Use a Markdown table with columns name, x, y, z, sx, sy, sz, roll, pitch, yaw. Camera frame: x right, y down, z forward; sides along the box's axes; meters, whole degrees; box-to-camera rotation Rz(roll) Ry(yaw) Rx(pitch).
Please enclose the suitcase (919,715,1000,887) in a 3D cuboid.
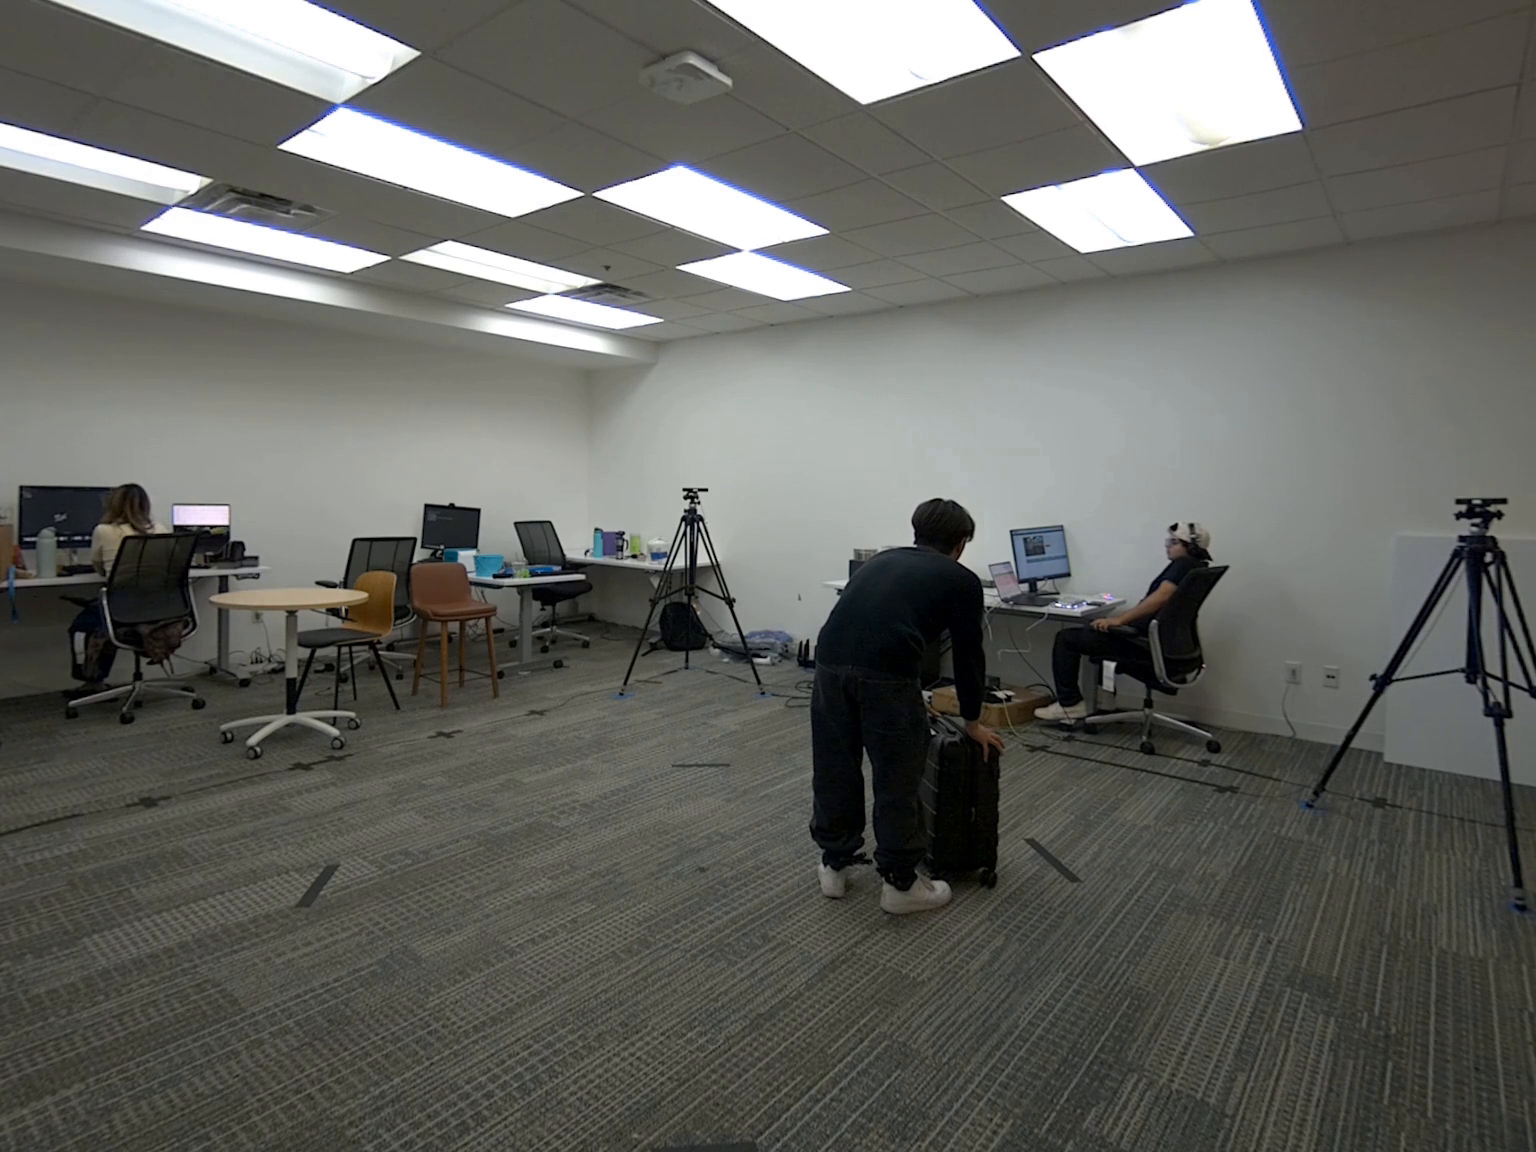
| name | x | y | z | sx | sy | sz | roll | pitch | yaw |
| --- | --- | --- | --- | --- | --- | --- | --- | --- | --- |
| suitcase | 0.676 | 0.806 | 3.171 | 0.246 | 0.548 | 0.380 | 1 | 4 | -10 |
